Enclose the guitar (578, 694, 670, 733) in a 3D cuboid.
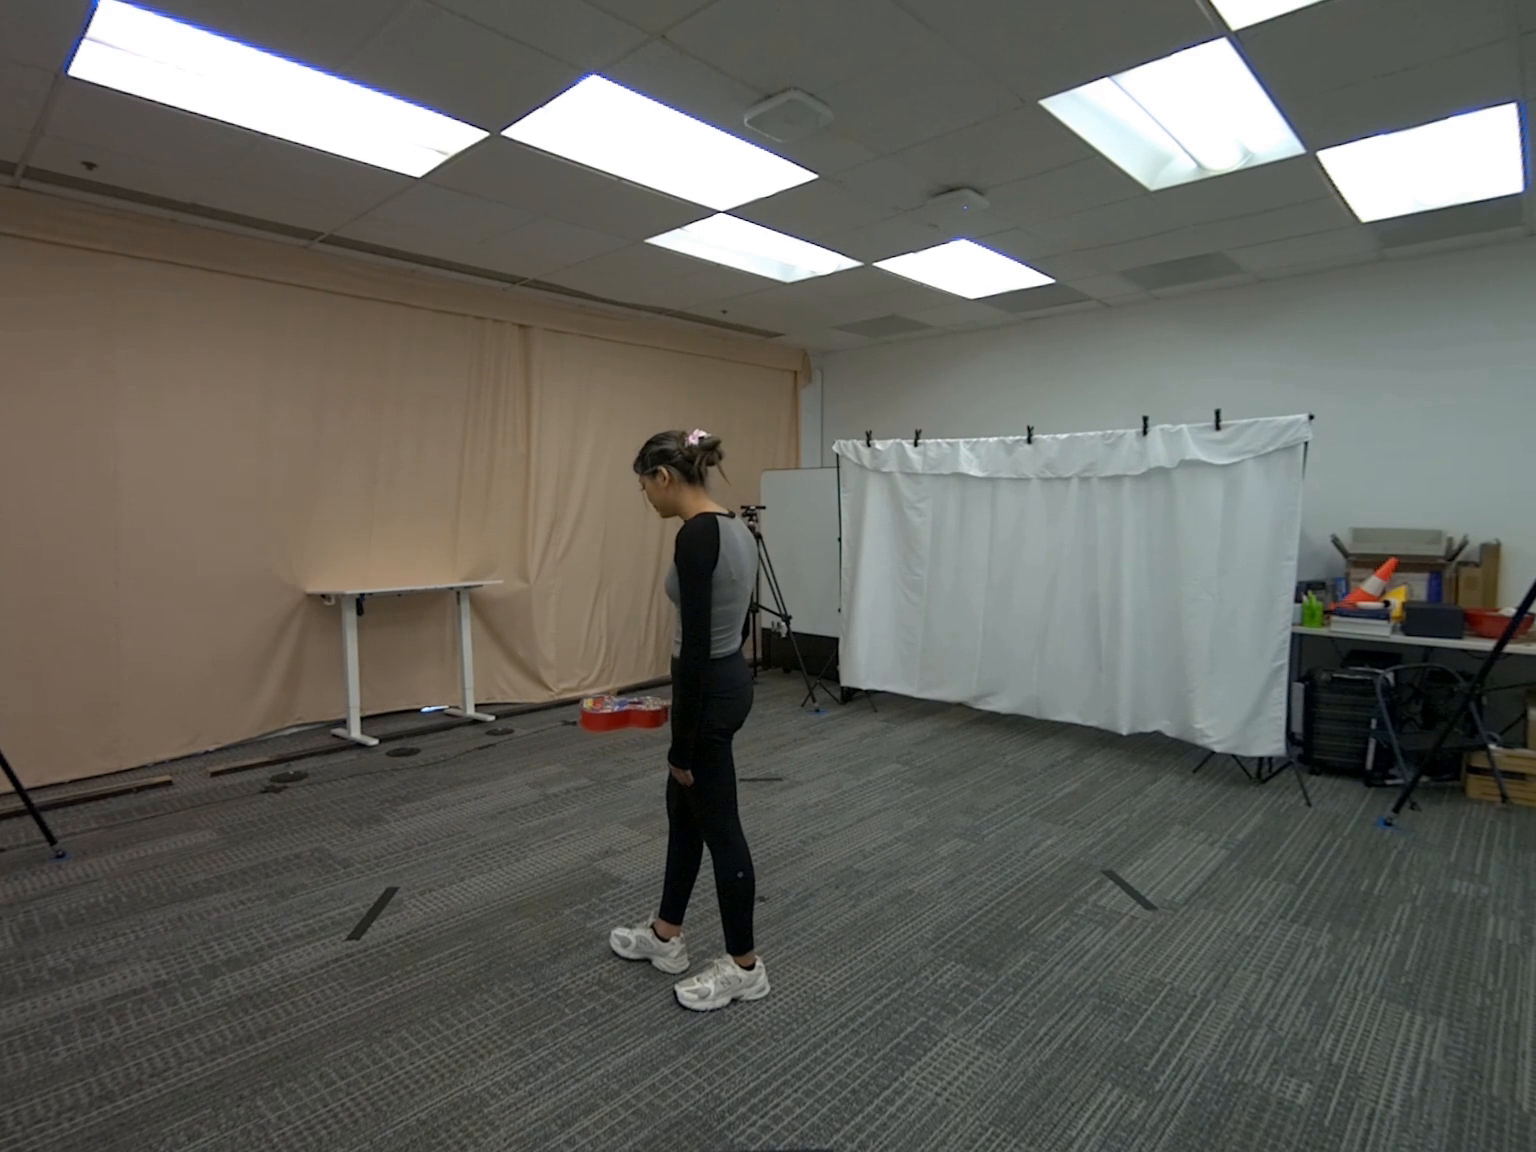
[{"bbox_3d":[-0.338,0.428,2.631,0.498,0.070,0.194,1,8,1],"label":"guitar"}]
